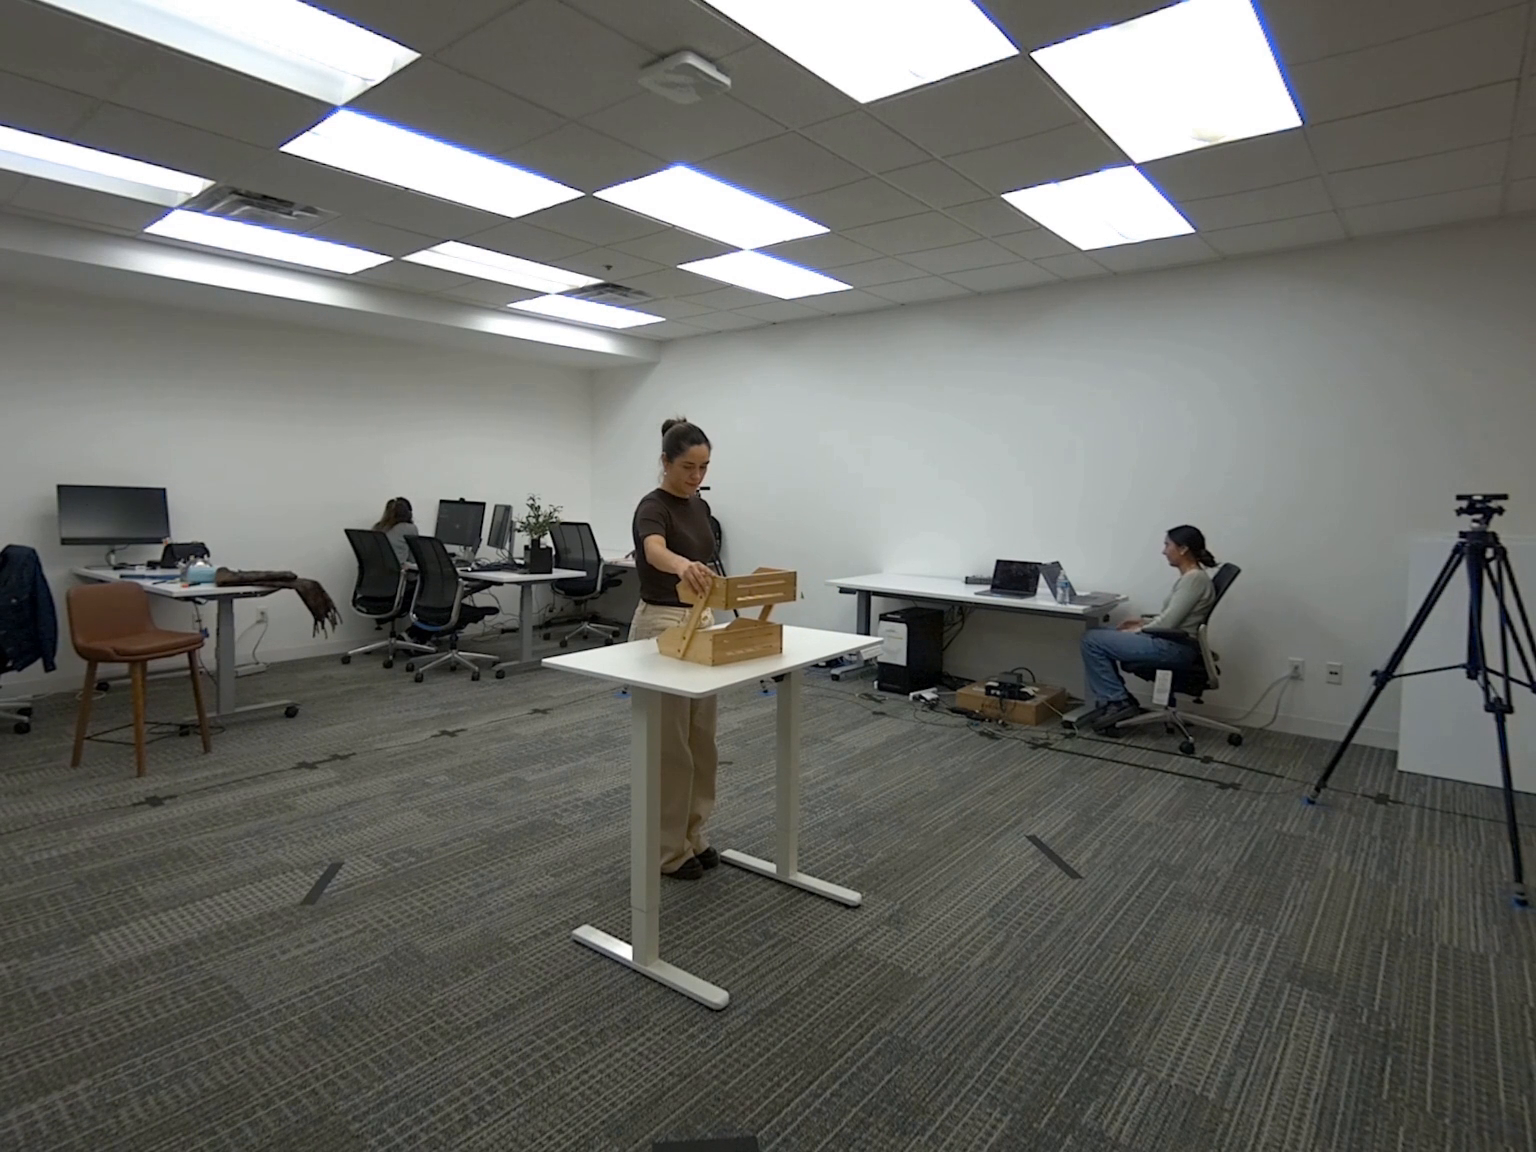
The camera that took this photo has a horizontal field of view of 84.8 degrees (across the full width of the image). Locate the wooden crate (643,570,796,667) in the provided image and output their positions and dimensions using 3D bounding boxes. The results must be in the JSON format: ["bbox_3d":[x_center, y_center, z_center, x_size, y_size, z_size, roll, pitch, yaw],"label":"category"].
[{"bbox_3d":[-0.135,0.105,2.579,0.312,0.272,0.315,7,7,44],"label":"wooden crate"}]
